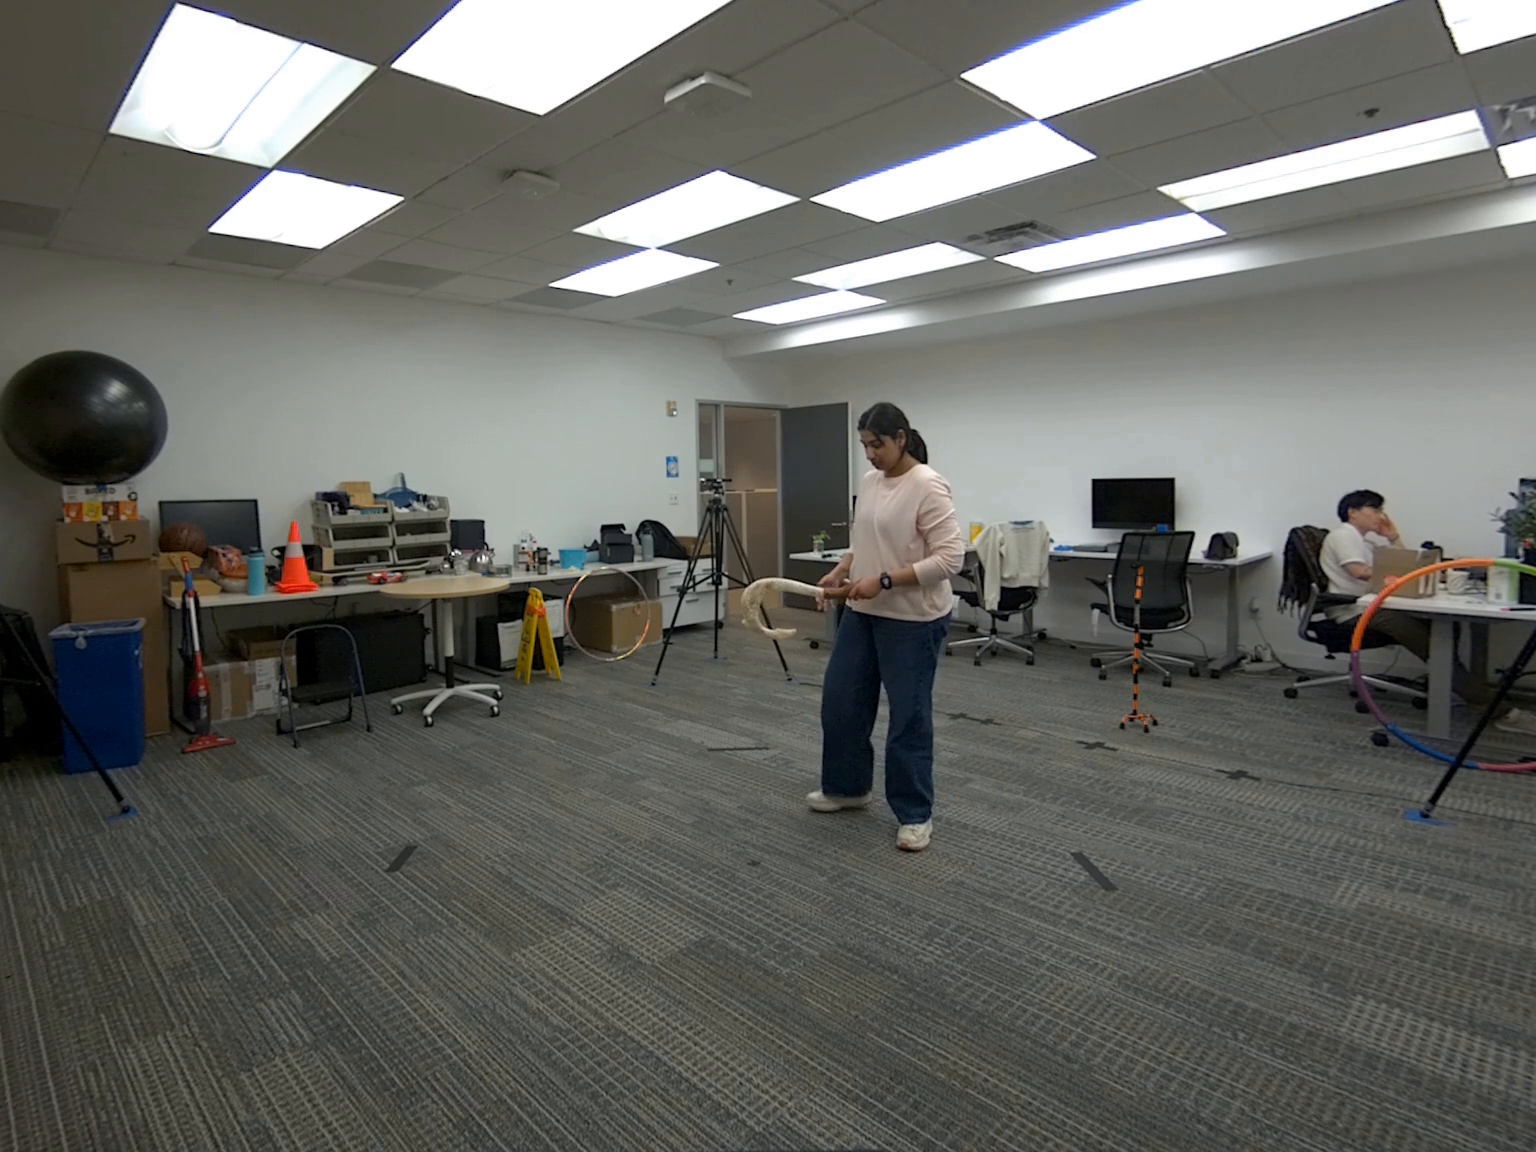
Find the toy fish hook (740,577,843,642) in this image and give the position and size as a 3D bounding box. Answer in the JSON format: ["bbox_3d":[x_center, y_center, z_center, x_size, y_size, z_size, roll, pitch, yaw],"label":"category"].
[{"bbox_3d":[0.152,0.109,3.158,0.505,0.223,0.049,-4,6,-3],"label":"toy fish hook"}]
